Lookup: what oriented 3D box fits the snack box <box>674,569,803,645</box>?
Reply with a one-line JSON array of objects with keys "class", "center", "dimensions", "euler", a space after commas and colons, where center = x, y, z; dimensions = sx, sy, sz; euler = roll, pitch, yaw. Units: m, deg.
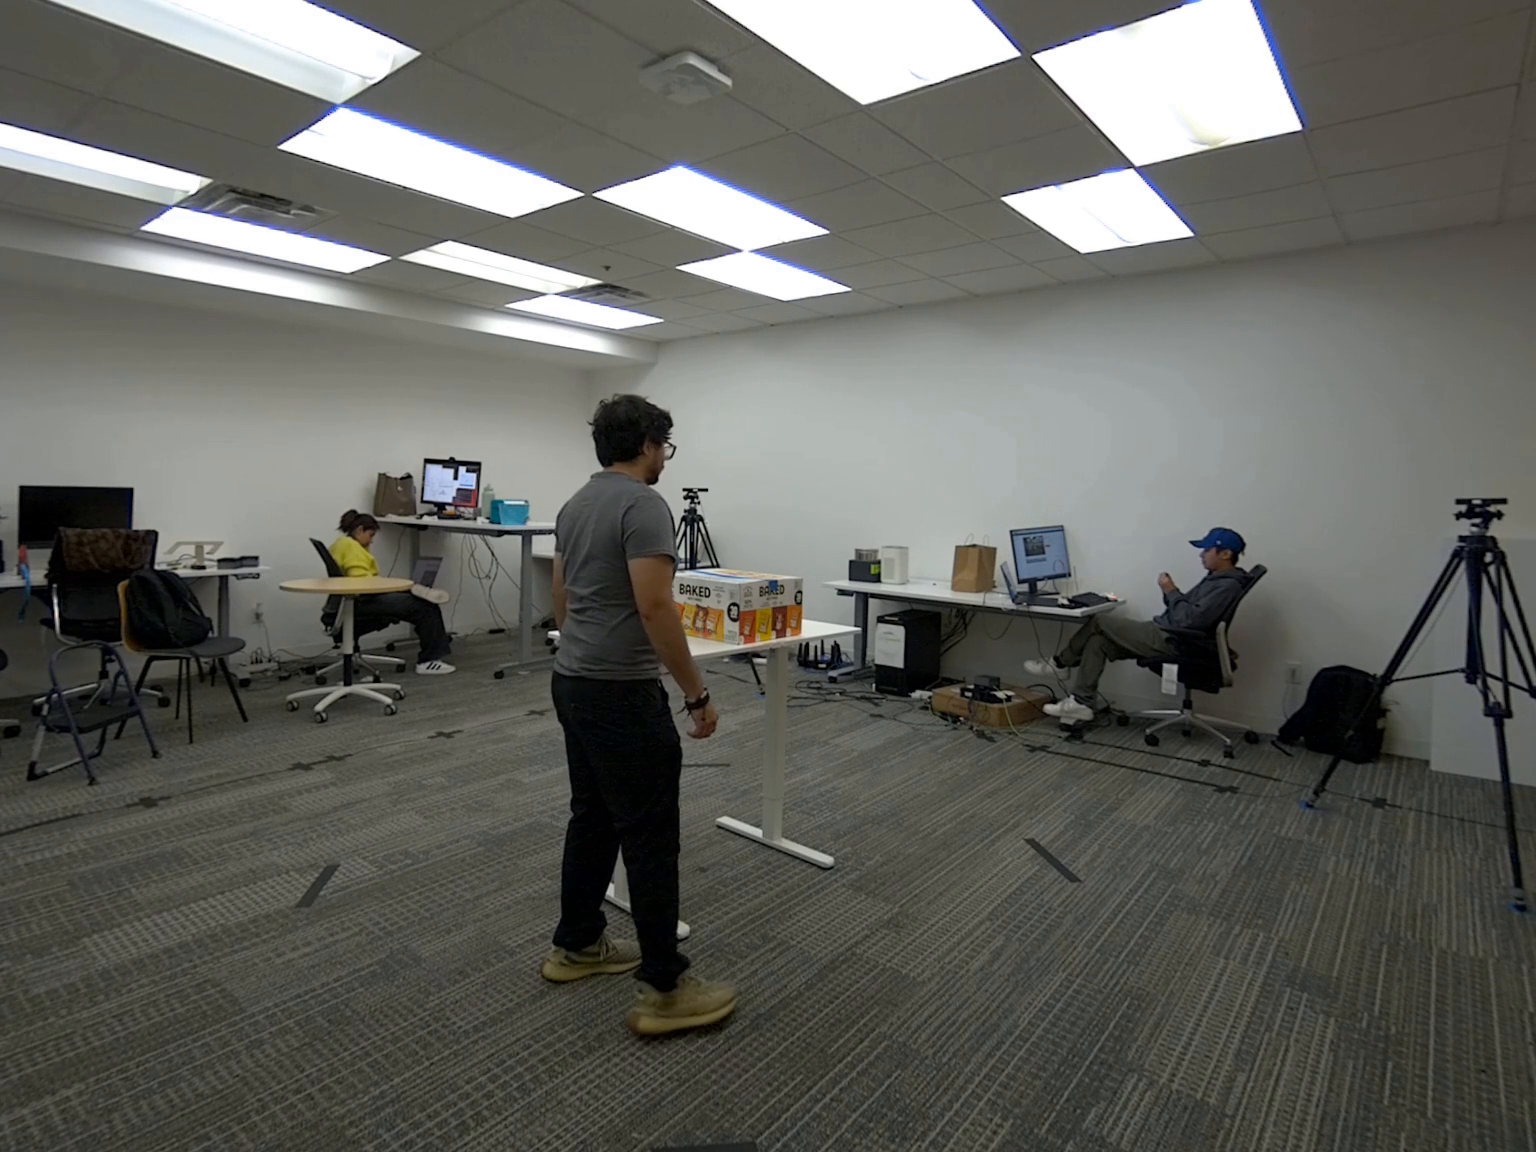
[{"class": "snack box", "center": [-0.152, 0.095, 3.011], "dimensions": [0.419, 0.205, 0.330], "euler": [5, 6, 40]}]
